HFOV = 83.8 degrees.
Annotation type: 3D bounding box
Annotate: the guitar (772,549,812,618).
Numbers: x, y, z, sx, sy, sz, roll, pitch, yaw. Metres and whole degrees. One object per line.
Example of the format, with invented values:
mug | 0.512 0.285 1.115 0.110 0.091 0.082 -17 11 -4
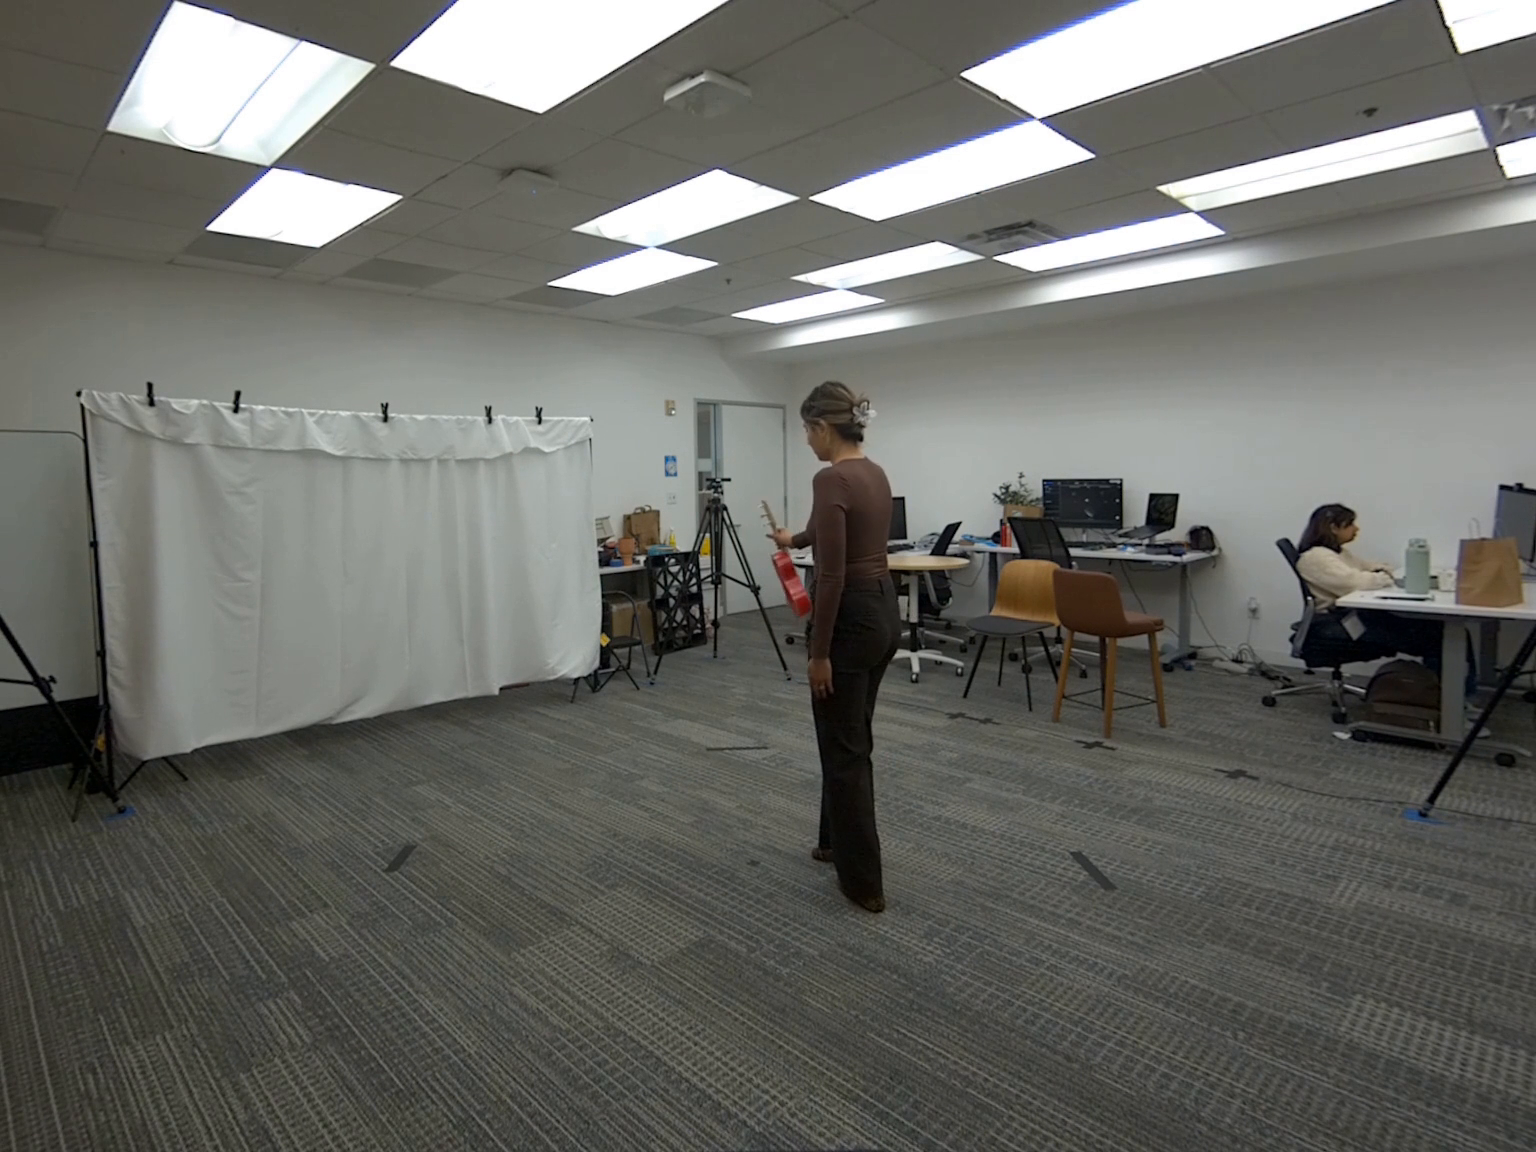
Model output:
guitar | 0.068 -0.064 3.473 0.071 0.507 0.190 -22 -14 -1
